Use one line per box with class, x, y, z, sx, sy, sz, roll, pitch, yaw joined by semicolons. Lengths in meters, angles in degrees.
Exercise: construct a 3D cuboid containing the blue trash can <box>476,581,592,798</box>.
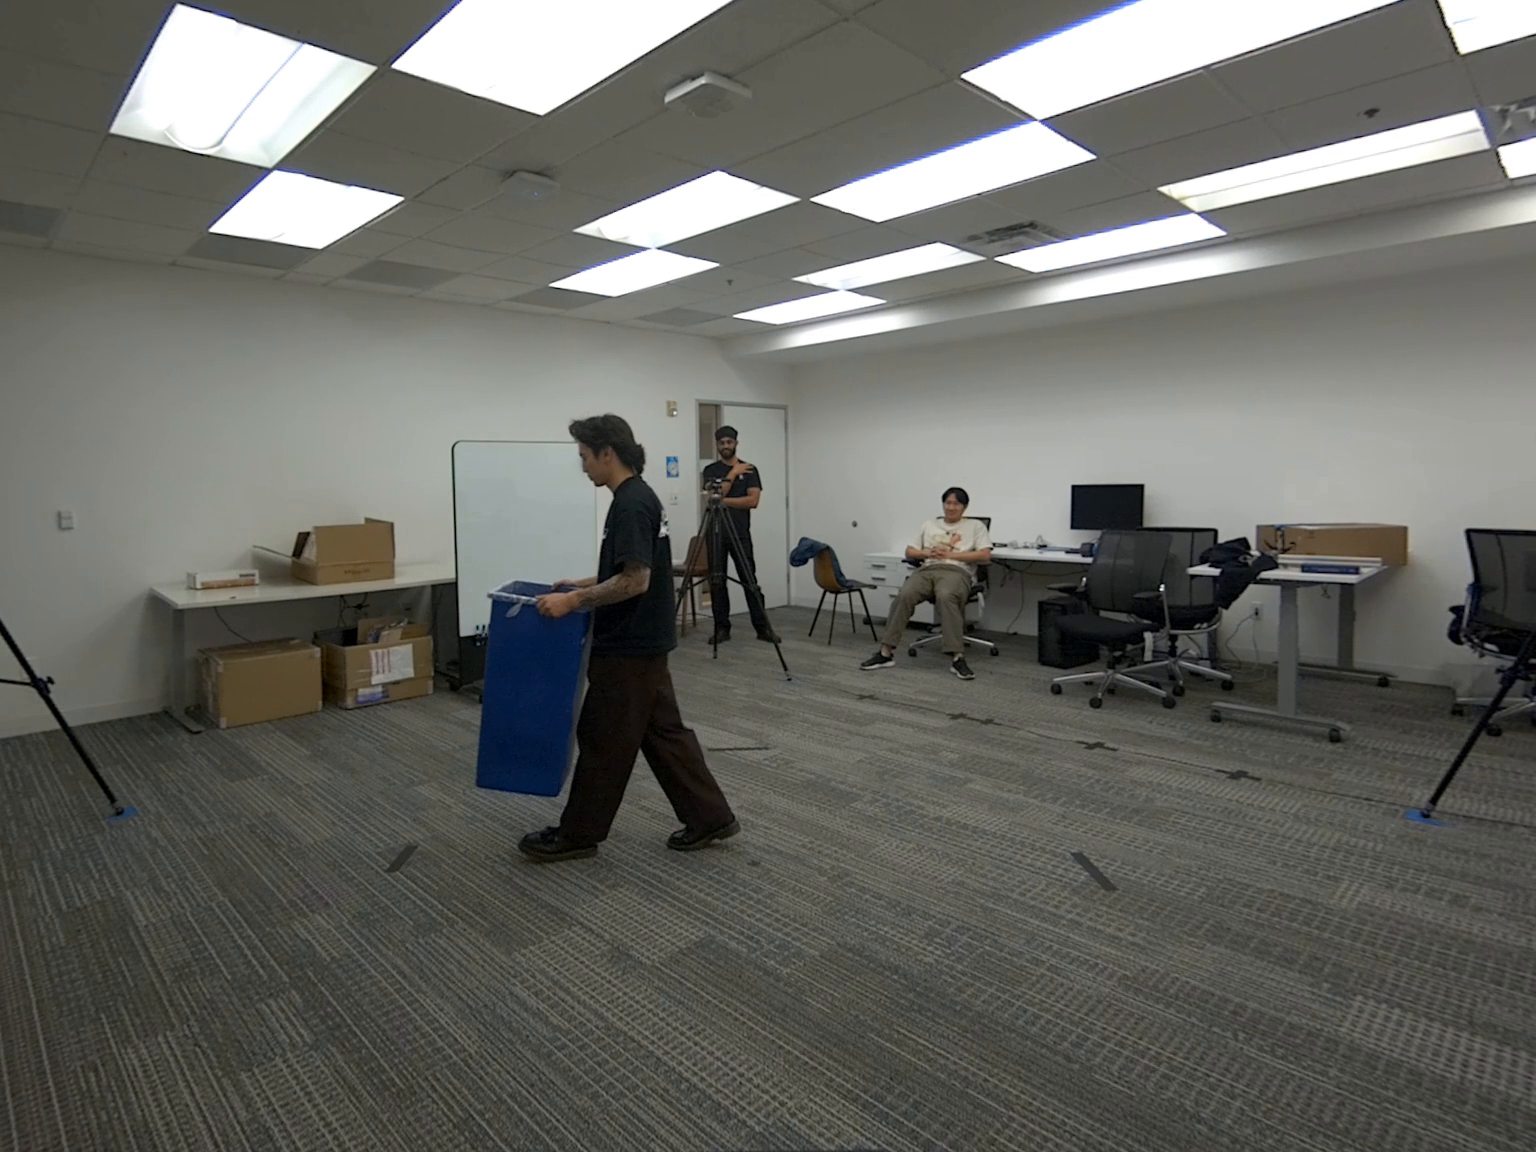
blue trash can;-0.865;0.406;3.189;0.377;0.710;0.377;8;5;-3
